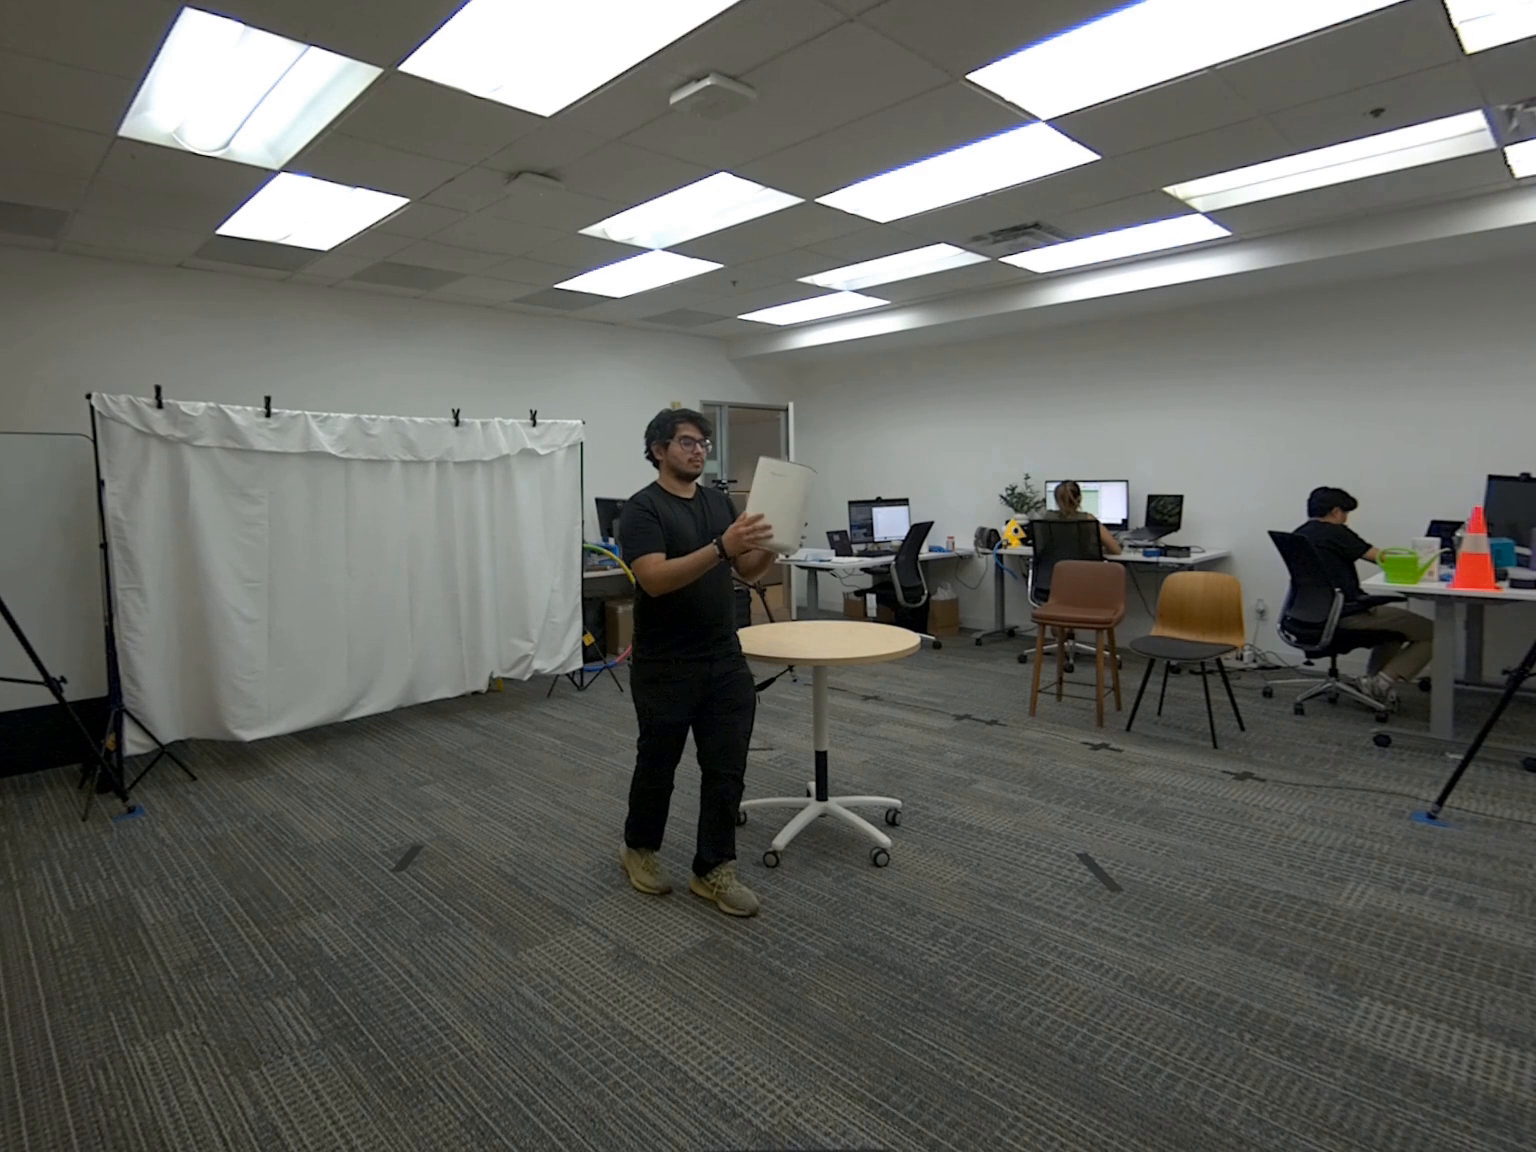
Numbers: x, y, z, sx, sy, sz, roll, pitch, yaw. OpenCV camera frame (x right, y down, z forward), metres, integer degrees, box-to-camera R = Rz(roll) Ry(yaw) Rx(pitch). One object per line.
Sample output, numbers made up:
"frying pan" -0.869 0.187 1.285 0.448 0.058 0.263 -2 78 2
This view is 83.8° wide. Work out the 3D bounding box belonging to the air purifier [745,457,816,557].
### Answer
"air purifier" 0.028 -0.204 2.569 0.173 0.266 0.169 13 -3 9
